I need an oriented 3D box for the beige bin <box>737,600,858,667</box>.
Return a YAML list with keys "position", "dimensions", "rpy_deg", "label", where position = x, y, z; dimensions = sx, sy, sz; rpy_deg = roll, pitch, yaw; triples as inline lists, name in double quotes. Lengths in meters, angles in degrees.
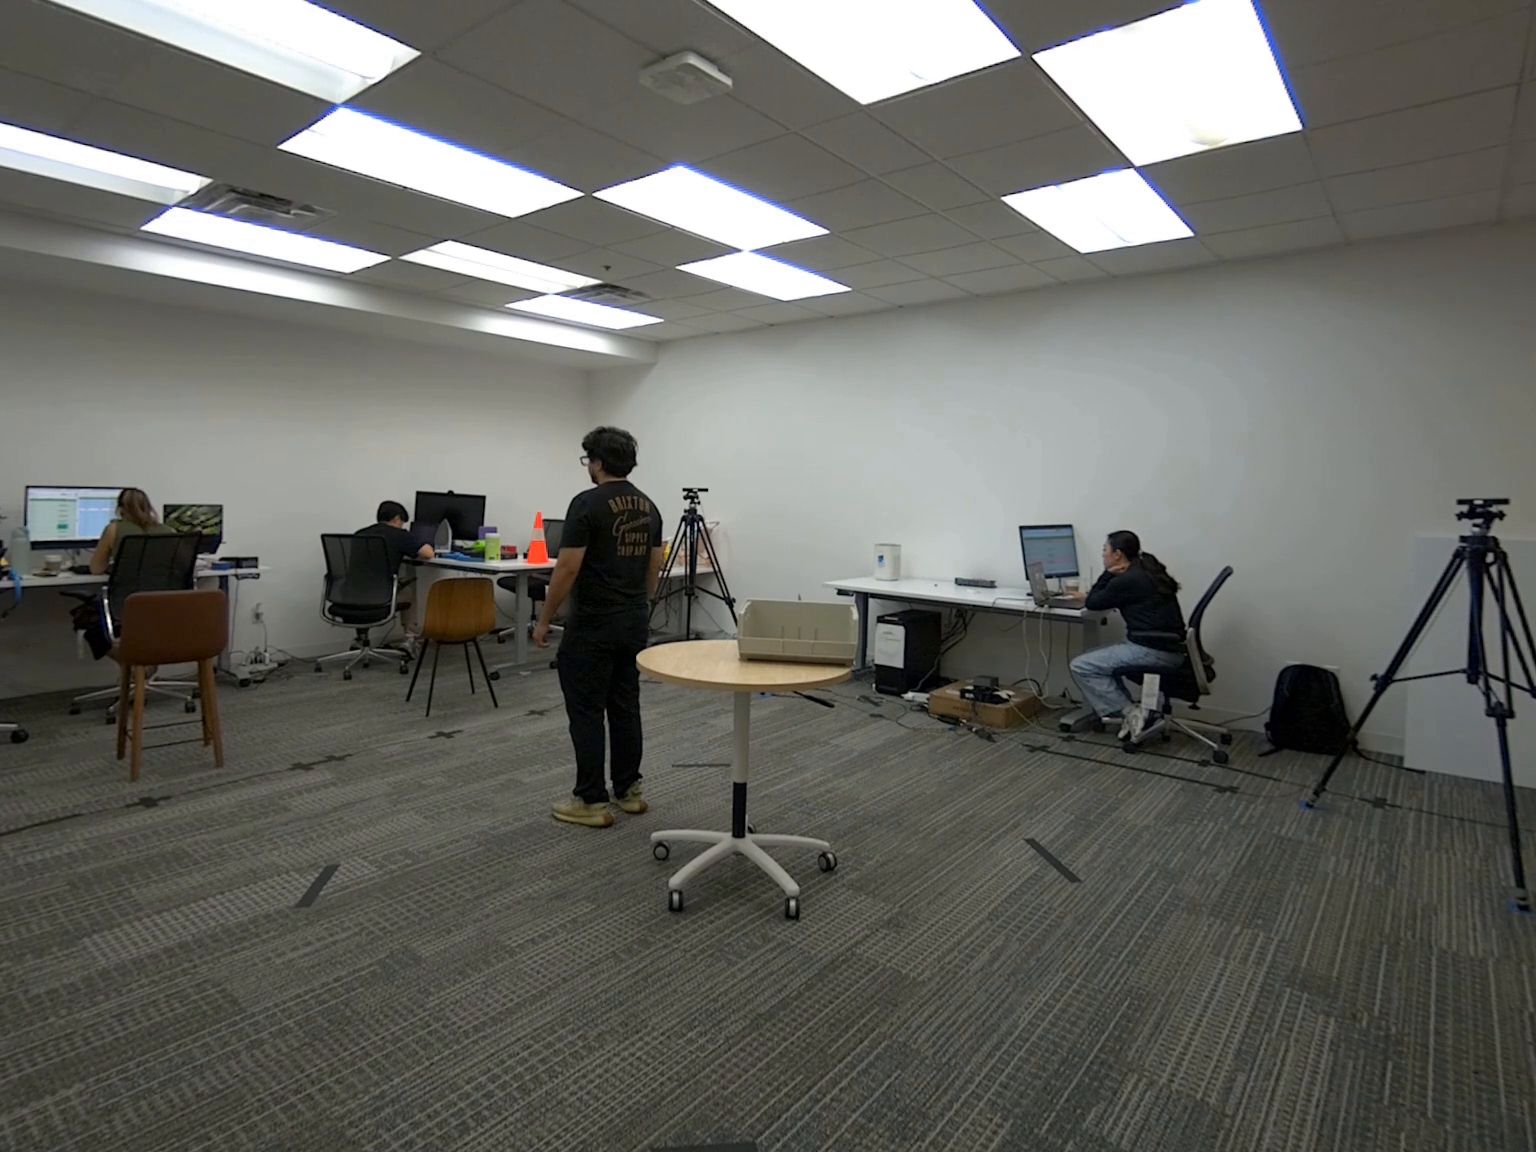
- position: [0.107, 0.207, 3.124]
  dimensions: [0.426, 0.188, 0.376]
  rpy_deg: [2, 4, 6]
  label: "beige bin"
